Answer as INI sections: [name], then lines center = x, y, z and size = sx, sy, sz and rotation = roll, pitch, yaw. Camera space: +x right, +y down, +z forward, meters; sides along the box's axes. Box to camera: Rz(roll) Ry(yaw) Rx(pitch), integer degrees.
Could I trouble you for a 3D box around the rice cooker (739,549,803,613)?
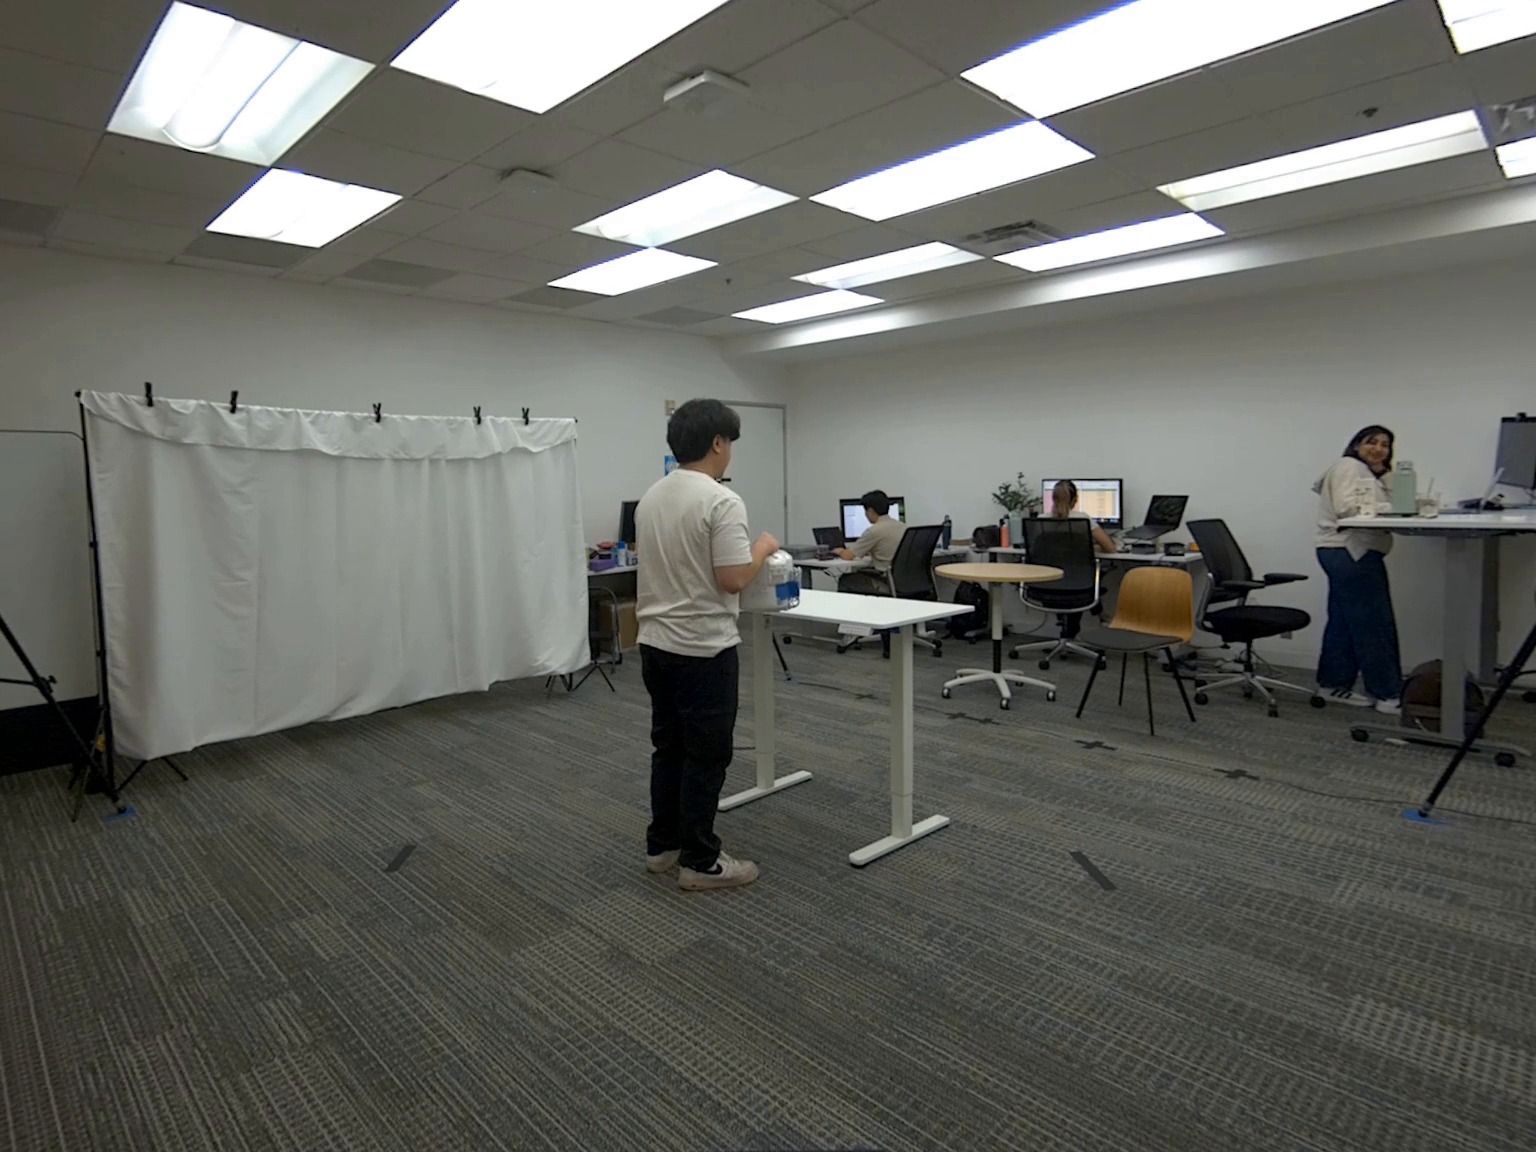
[rice cooker]
center = -0.015, 0.005, 3.053
size = 0.213, 0.231, 0.226
rotation = -2, 7, -25
